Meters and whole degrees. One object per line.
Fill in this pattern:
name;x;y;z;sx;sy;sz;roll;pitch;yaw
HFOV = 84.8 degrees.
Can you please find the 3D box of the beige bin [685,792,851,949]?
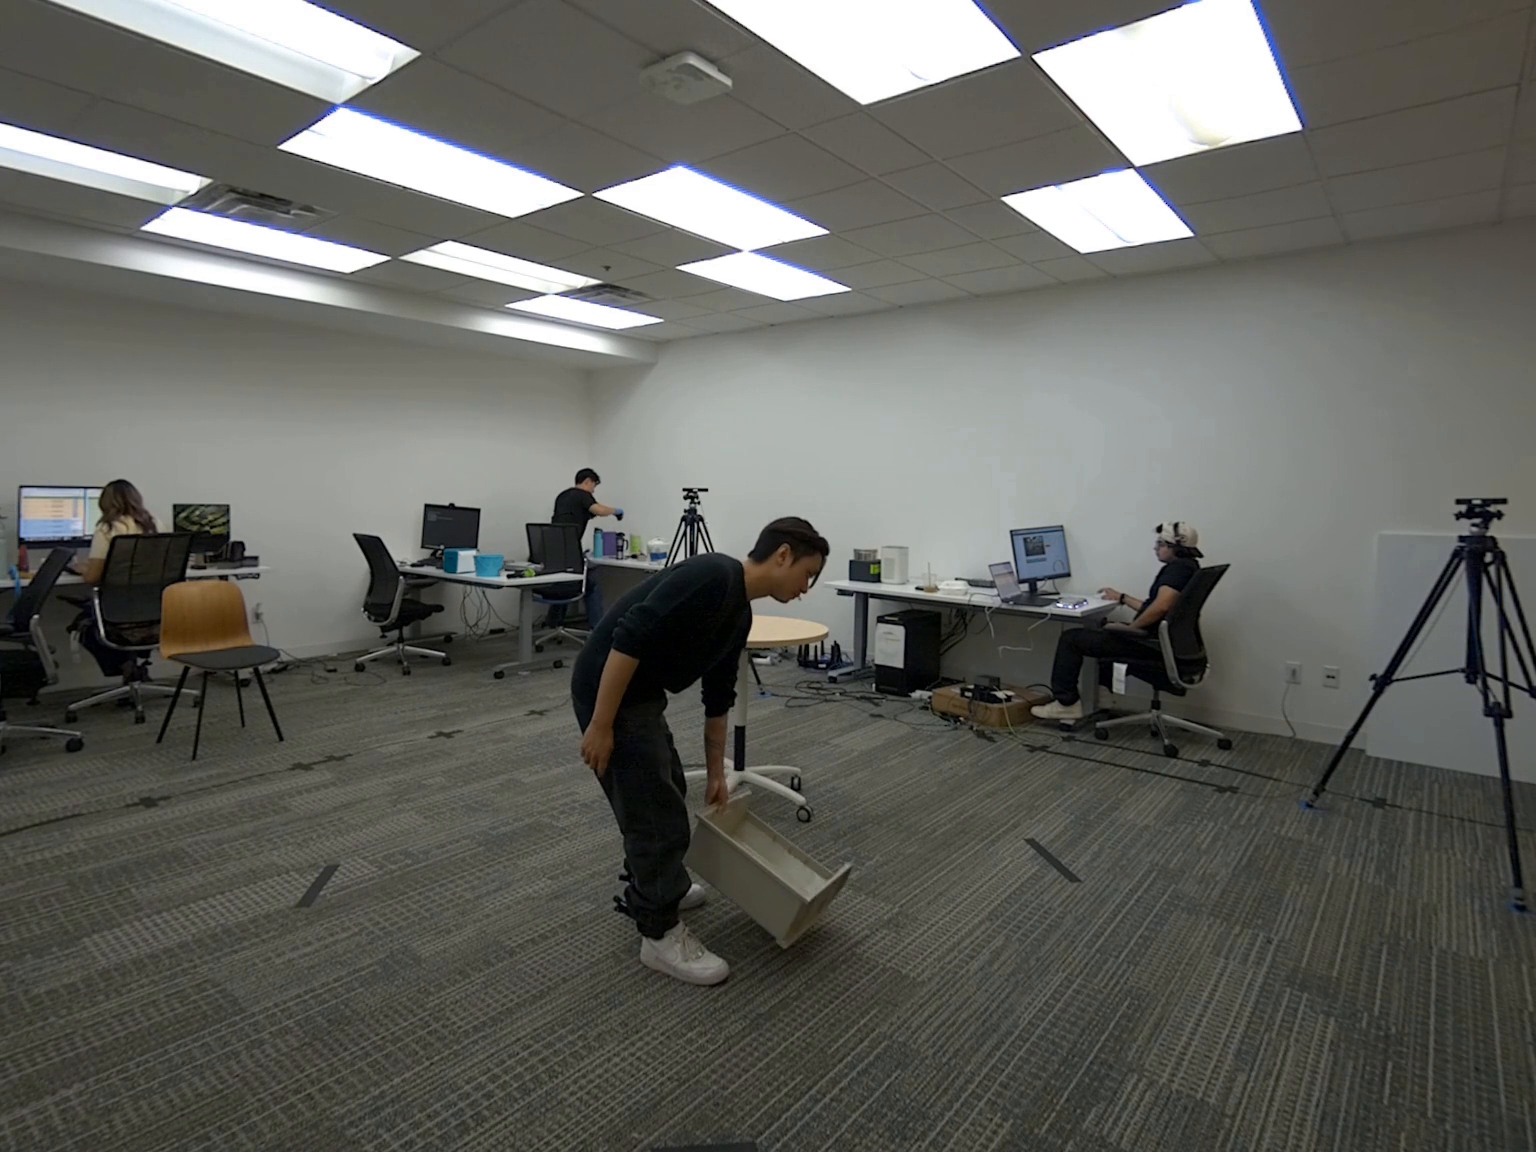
beige bin;0.007;0.894;2.650;0.433;0.187;0.371;27;16;18
